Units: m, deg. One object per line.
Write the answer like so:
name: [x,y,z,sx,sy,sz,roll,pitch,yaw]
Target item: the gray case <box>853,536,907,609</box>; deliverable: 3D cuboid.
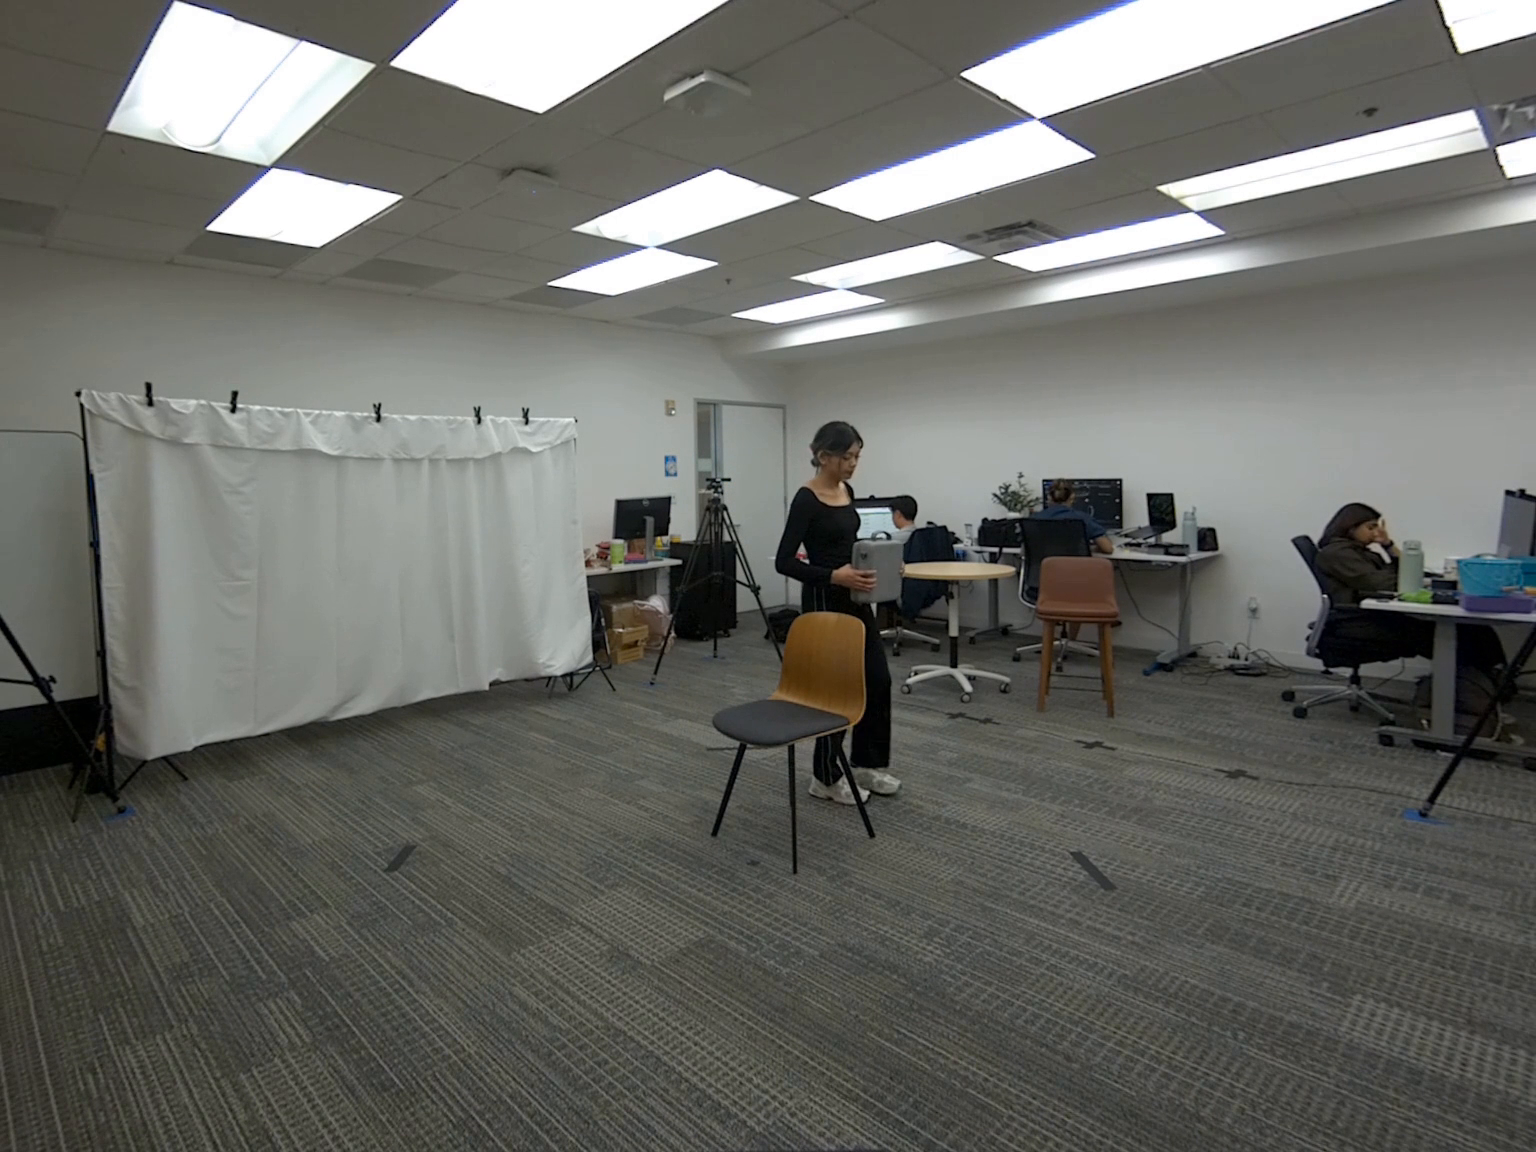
gray case: [0.441,-0.021,3.484,0.108,0.259,0.250,7,9,40]
